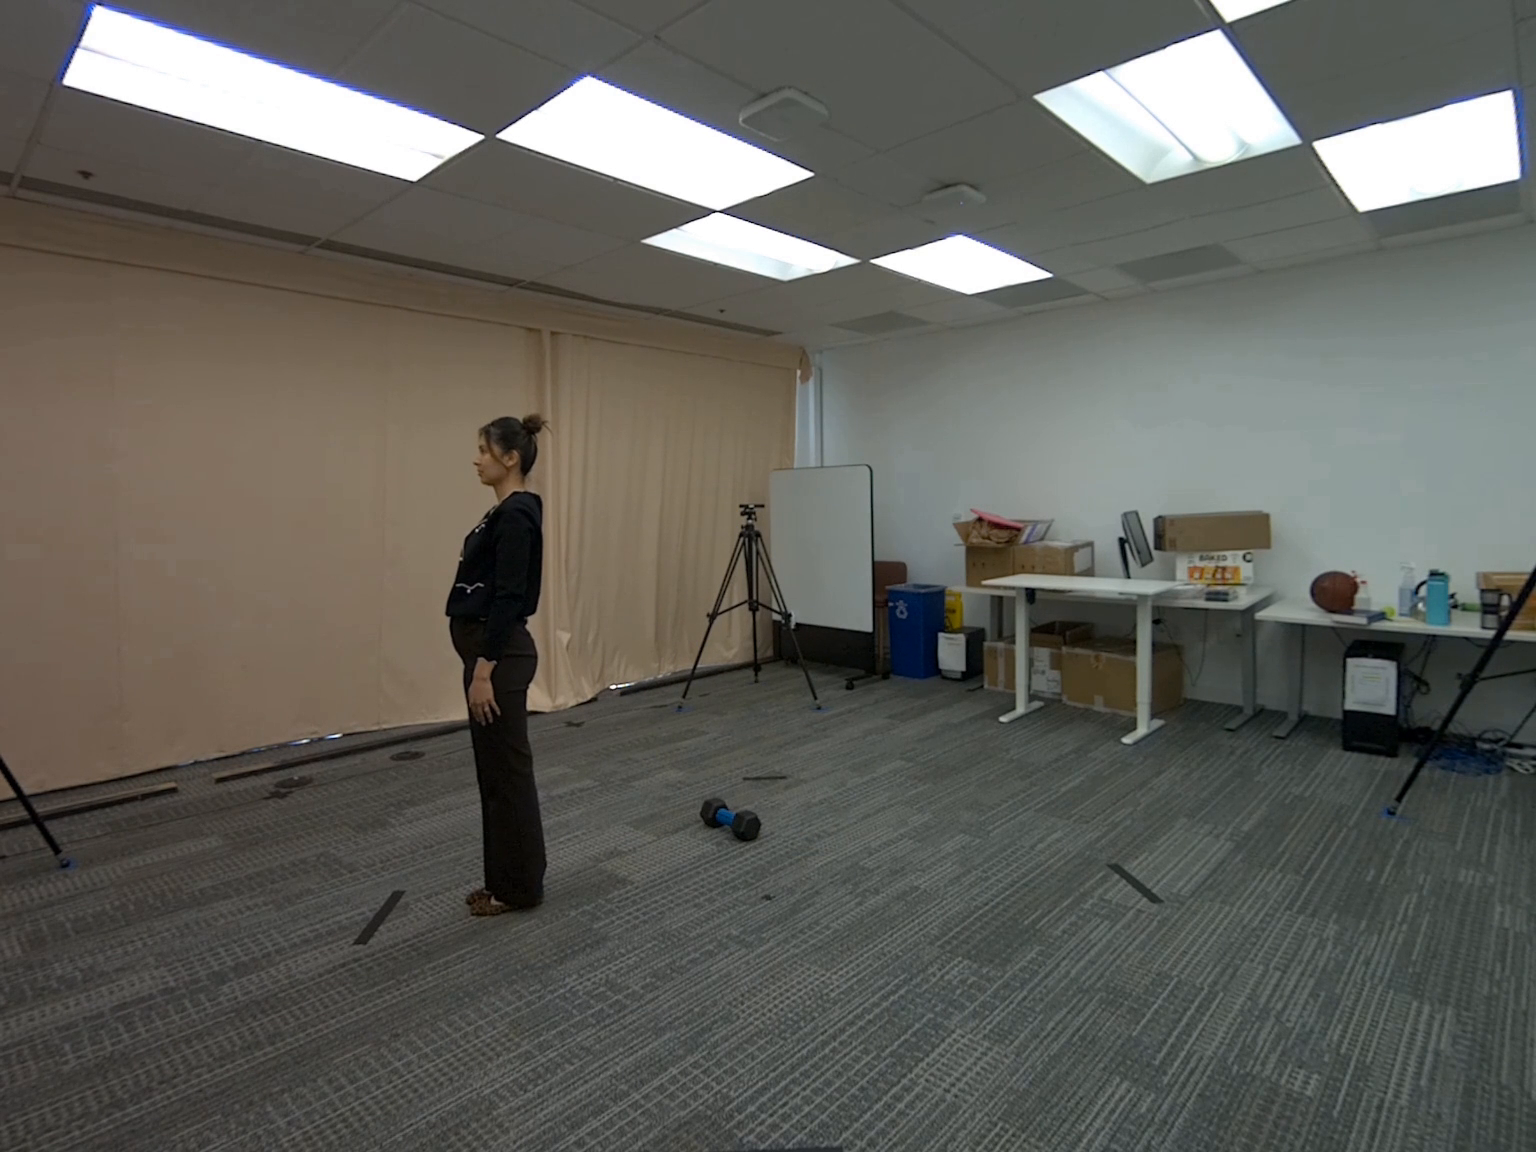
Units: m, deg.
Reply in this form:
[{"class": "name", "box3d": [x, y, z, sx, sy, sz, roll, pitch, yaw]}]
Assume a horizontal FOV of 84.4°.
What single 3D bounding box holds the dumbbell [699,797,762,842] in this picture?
[{"class": "dumbbell", "box3d": [-0.160, 1.037, 3.592, 0.105, 0.123, 0.303, 35, -20, -36]}]
